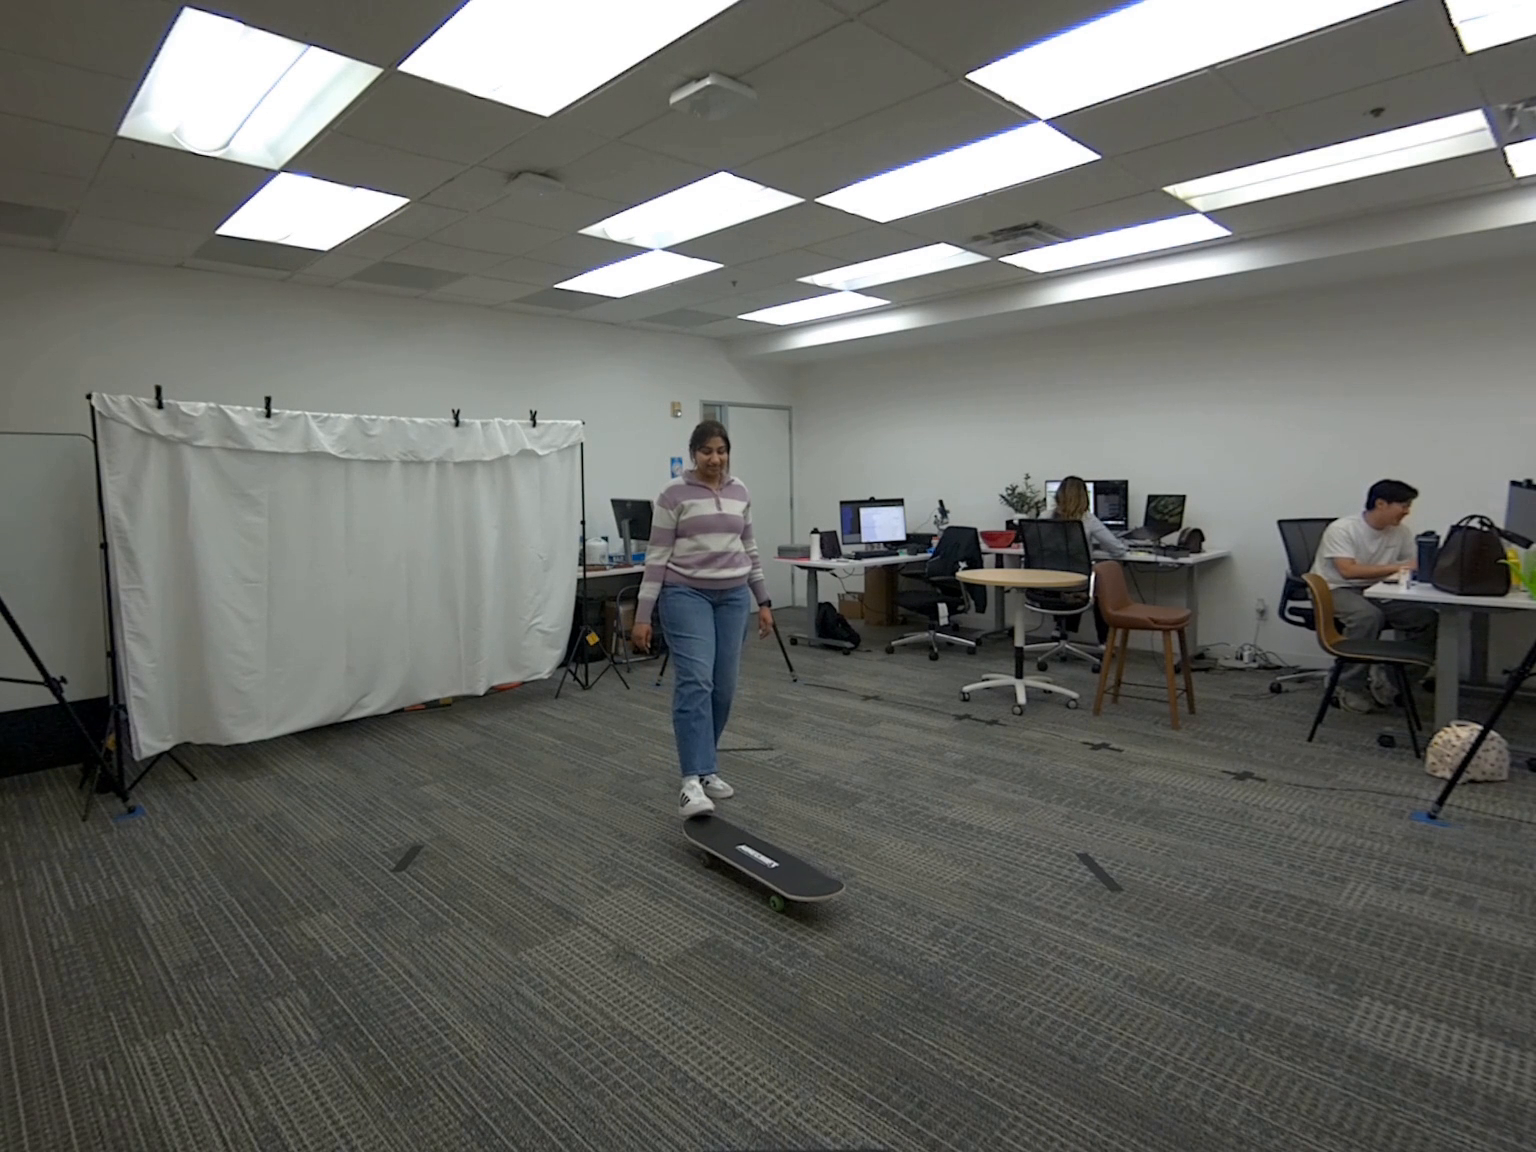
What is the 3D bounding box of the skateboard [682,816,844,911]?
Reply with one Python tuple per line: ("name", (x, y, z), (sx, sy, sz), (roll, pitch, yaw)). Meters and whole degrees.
("skateboard", (-0.033, 1.010, 2.968), (0.189, 0.110, 0.809), (-7, 8, -37))
